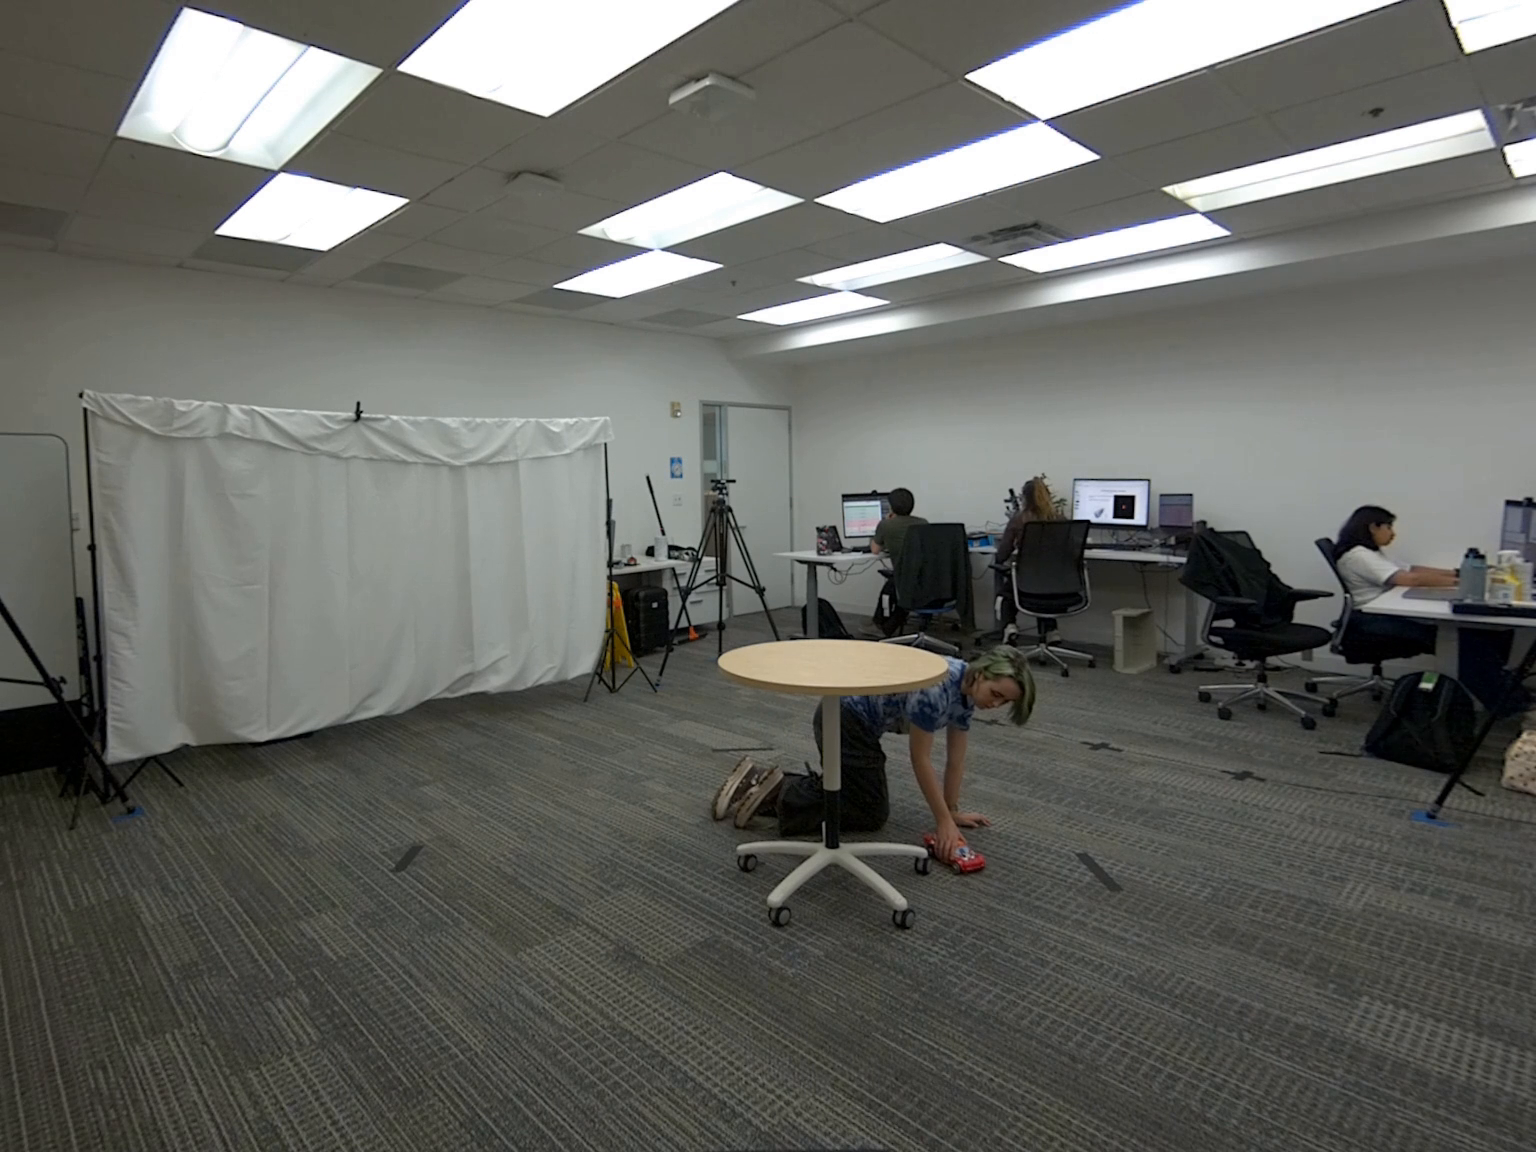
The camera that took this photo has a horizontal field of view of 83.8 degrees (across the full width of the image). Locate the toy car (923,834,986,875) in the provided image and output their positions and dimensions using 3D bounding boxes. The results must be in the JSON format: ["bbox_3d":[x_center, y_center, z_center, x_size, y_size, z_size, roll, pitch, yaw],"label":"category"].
[{"bbox_3d":[0.678,1.006,3.107,0.128,0.082,0.263,-3,18,-24],"label":"toy car"}]
